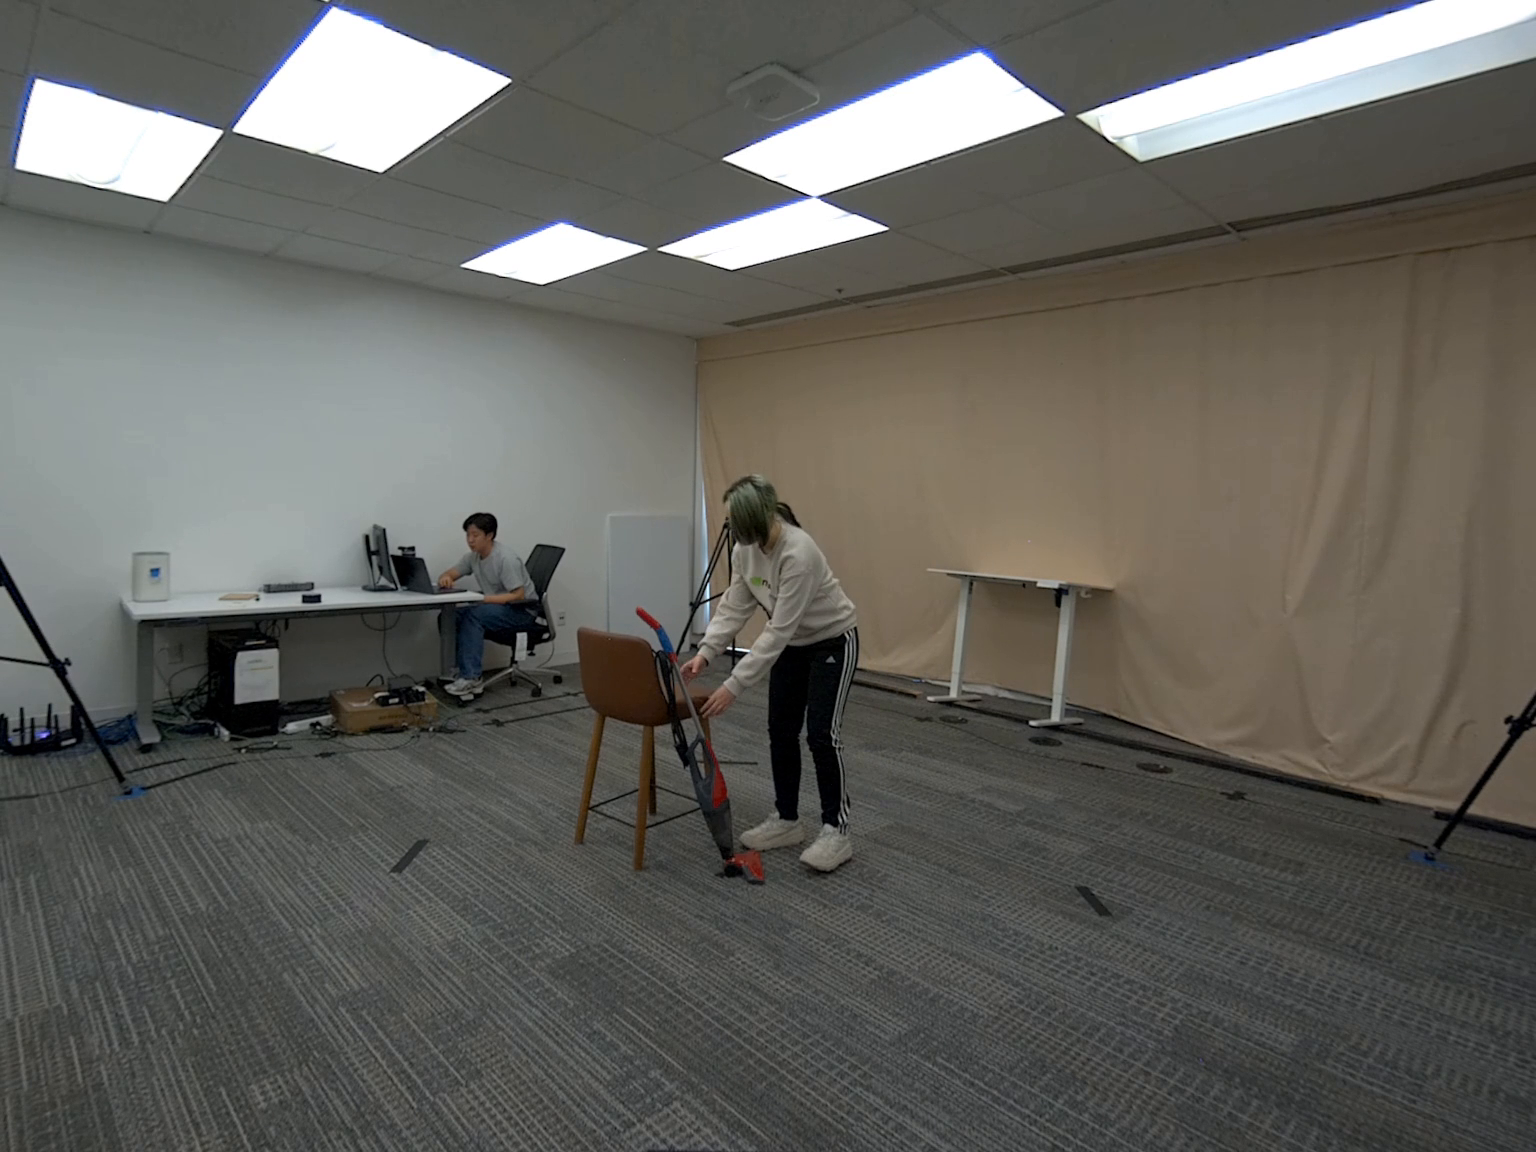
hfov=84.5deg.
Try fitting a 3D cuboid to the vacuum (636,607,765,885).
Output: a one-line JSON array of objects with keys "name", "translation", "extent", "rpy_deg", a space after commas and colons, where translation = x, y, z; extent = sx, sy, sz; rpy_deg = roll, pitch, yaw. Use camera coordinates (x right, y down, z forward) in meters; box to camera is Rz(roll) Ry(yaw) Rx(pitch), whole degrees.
[{"name": "vacuum", "translation": [-0.291, 0.609, 3.118], "extent": [0.143, 1.045, 0.255], "rpy_deg": [-22, 4, -12]}]
